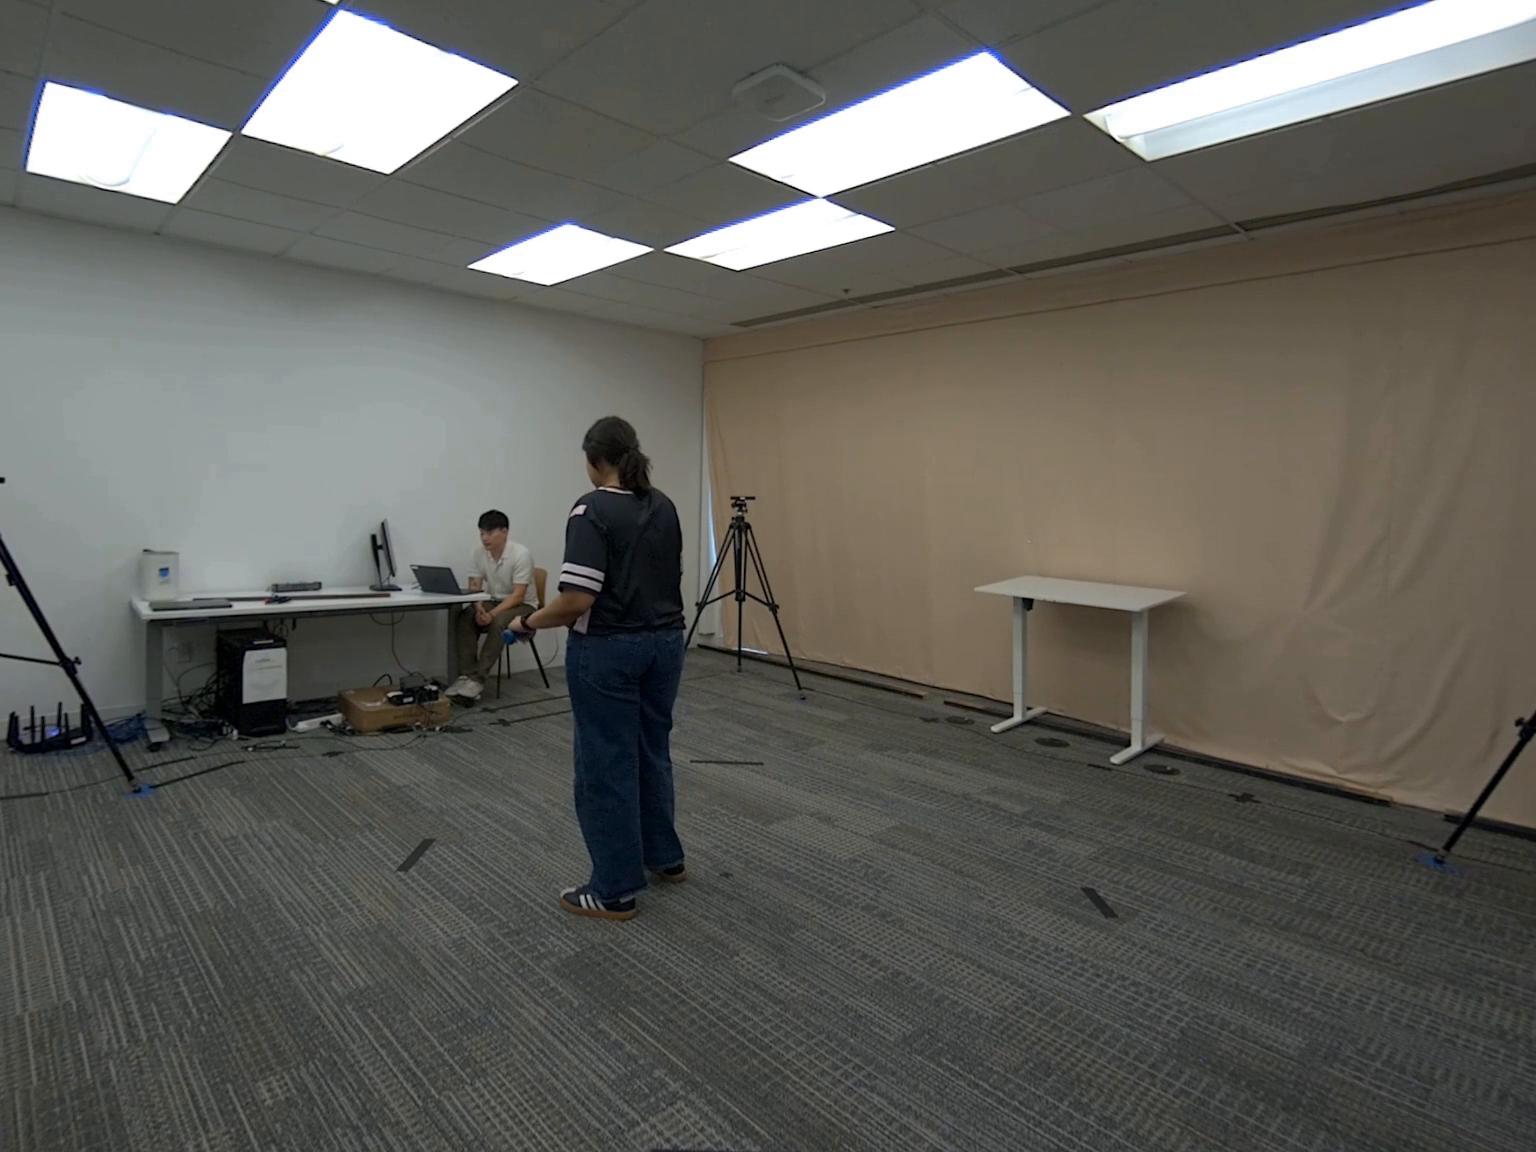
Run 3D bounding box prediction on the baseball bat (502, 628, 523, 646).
[{"bbox_3d":[-0.680,0.143,2.911,0.091,0.088,0.539,3,17,23],"label":"baseball bat"}]
